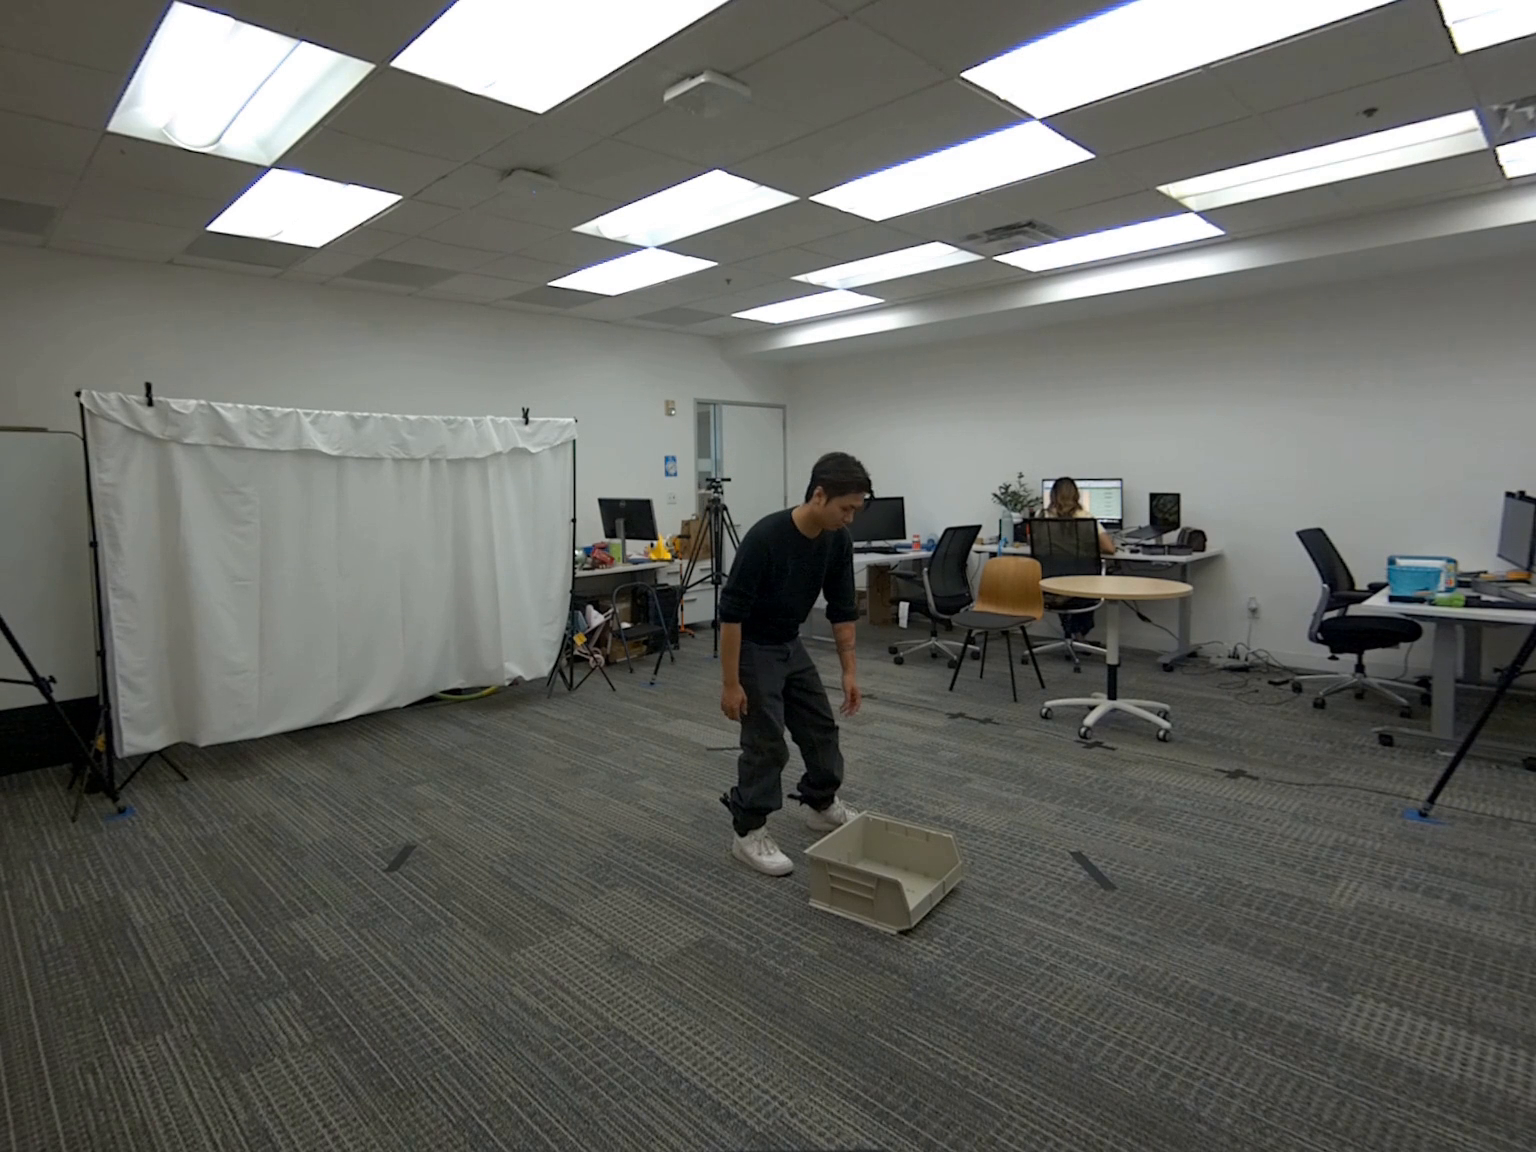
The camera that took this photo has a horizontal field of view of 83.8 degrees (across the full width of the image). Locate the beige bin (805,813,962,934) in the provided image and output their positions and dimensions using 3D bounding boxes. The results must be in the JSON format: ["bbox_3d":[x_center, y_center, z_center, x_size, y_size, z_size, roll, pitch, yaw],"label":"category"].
[{"bbox_3d":[0.395,0.979,2.834,0.388,0.188,0.412,2,7,36],"label":"beige bin"}]
